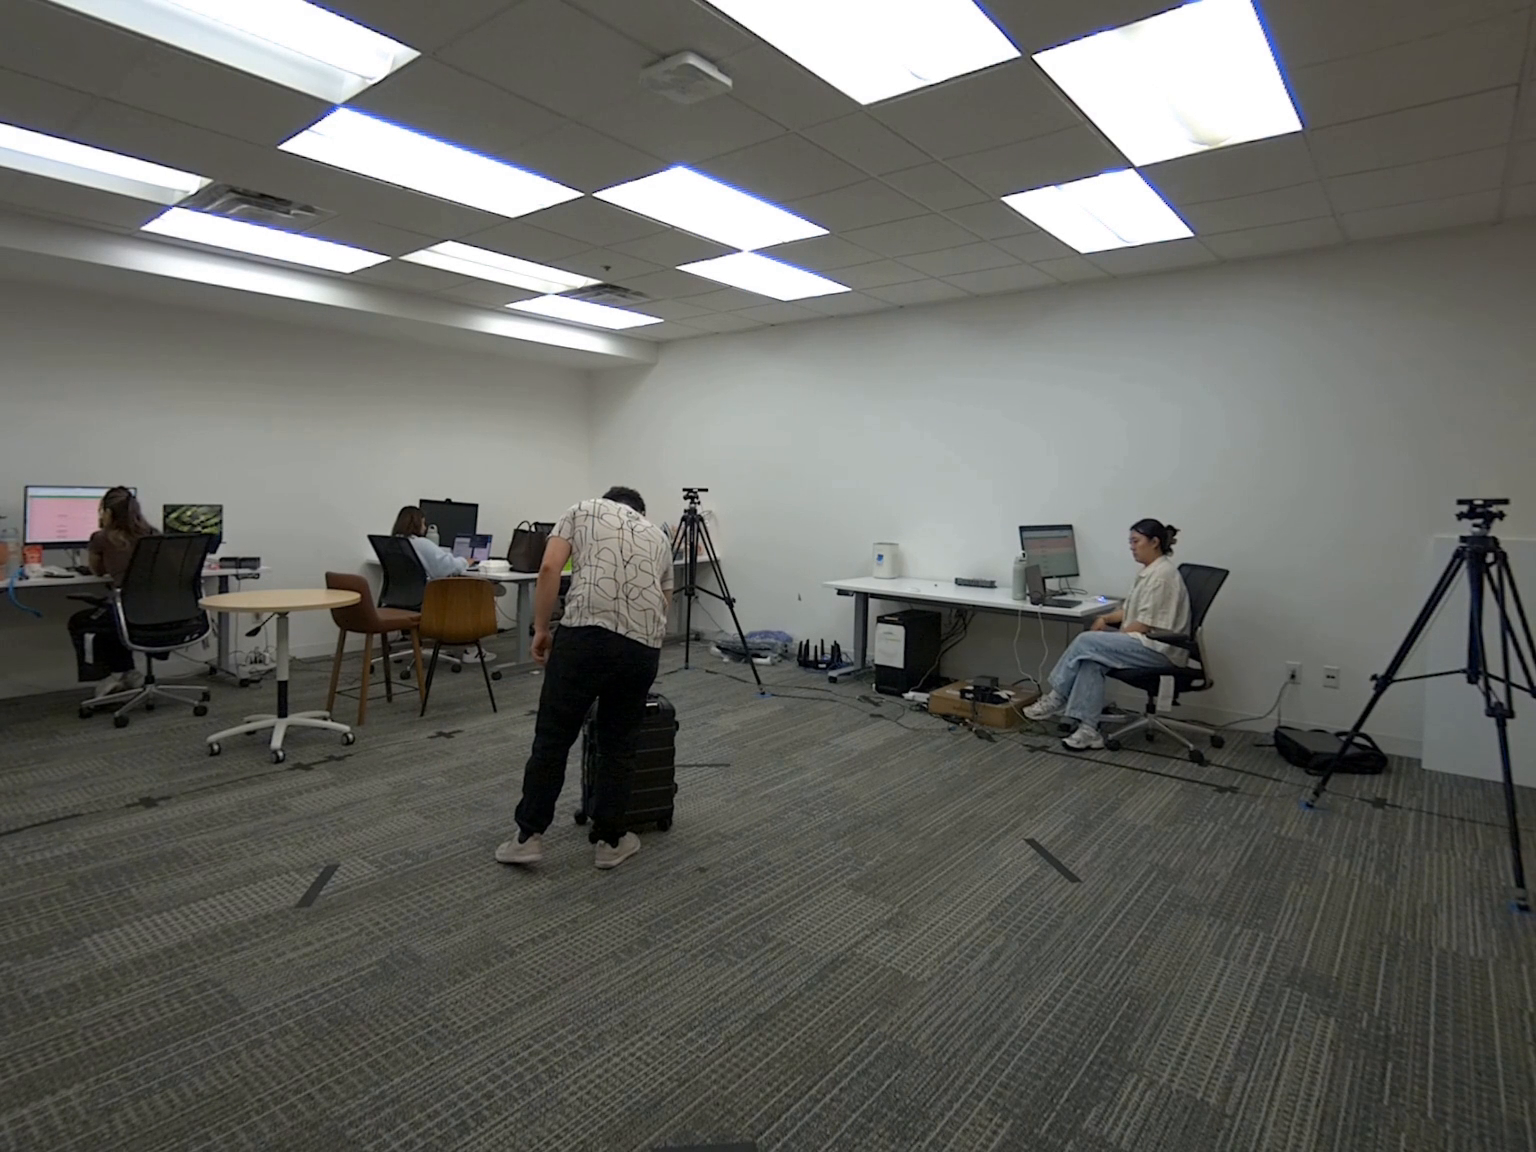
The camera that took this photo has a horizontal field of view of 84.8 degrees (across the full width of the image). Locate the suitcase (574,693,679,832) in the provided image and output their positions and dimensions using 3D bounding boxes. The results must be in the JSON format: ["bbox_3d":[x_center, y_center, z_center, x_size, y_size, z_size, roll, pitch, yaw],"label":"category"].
[{"bbox_3d":[-0.586,0.748,3.483,0.366,0.547,0.255,-1,4,-26],"label":"suitcase"}]
